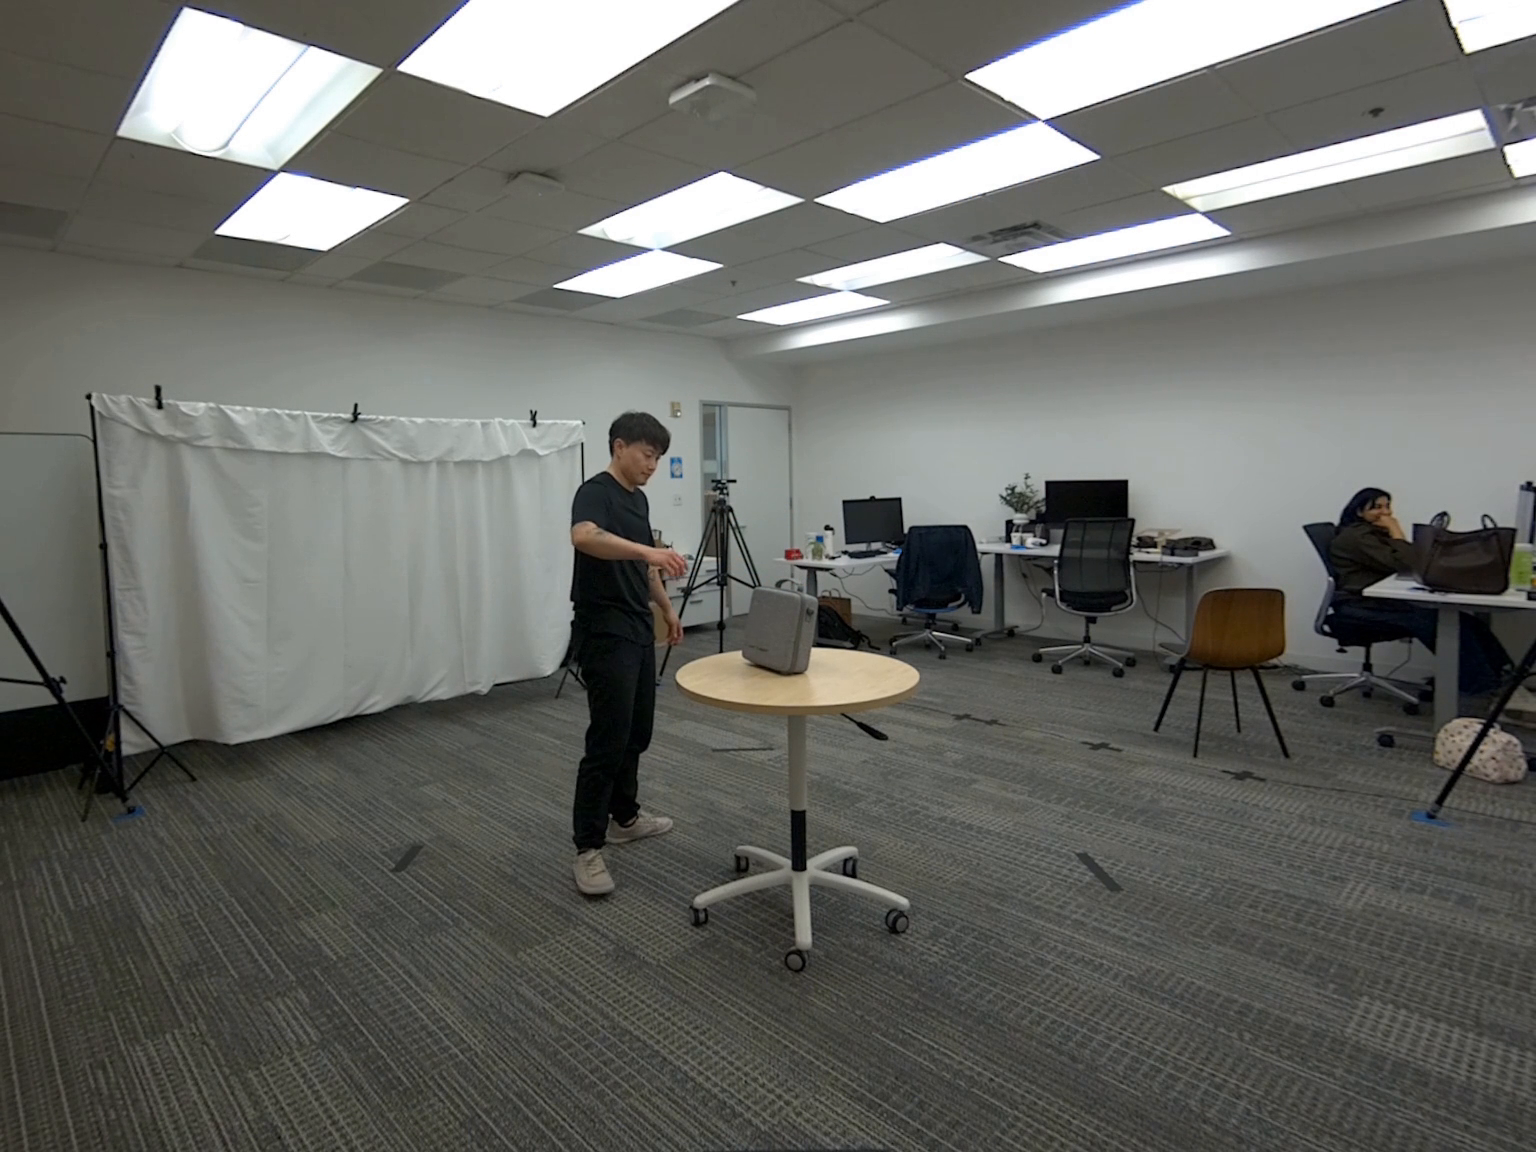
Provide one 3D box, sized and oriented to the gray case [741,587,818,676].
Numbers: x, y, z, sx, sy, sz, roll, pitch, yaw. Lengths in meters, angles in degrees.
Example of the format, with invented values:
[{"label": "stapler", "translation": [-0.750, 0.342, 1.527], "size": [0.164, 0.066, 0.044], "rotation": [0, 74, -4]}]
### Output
[{"label": "gray case", "translation": [0.035, 0.169, 2.777], "size": [0.101, 0.261, 0.264], "rotation": [9, 0, -34]}]
